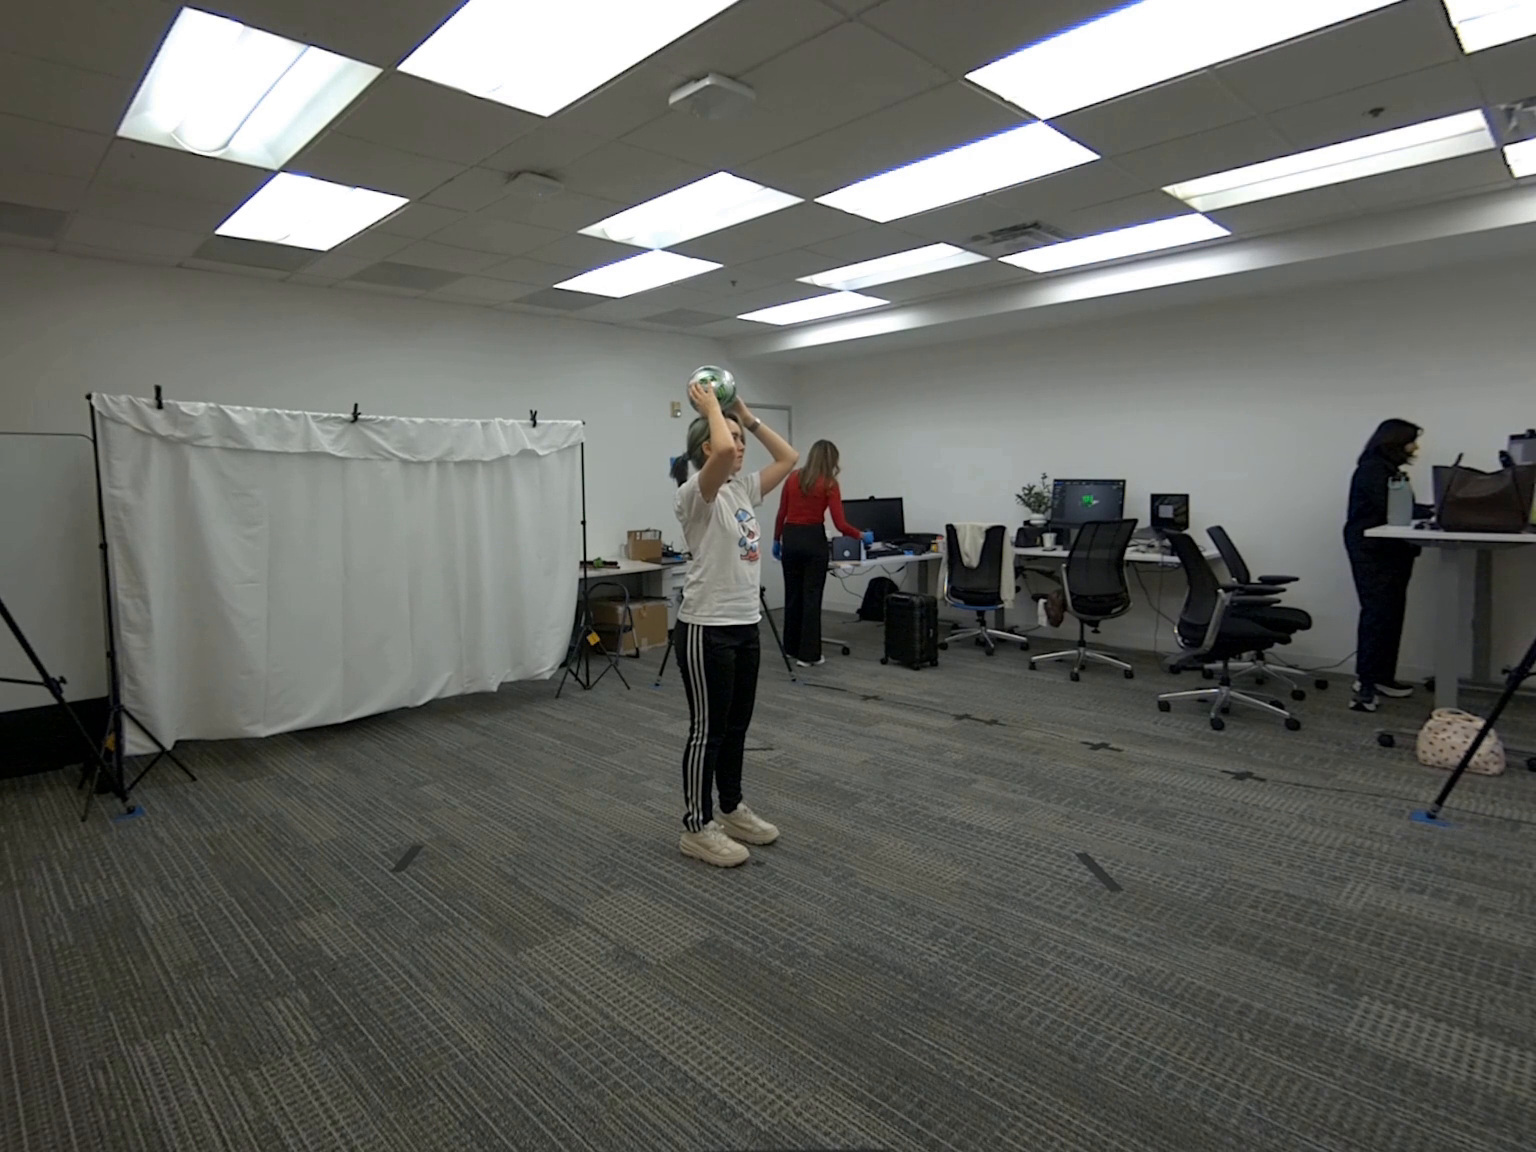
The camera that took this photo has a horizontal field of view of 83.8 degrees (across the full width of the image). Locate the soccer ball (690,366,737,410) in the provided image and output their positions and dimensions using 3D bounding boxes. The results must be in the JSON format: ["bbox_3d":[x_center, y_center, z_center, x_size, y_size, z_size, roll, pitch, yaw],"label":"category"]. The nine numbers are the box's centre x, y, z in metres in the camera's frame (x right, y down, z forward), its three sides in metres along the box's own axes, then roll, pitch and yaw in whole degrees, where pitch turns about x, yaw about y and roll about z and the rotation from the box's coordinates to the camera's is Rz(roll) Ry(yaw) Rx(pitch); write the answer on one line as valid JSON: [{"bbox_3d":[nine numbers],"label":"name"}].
[{"bbox_3d":[-0.208,-0.688,3.178,0.187,0.187,0.188,-1,5,-2],"label":"soccer ball"}]
